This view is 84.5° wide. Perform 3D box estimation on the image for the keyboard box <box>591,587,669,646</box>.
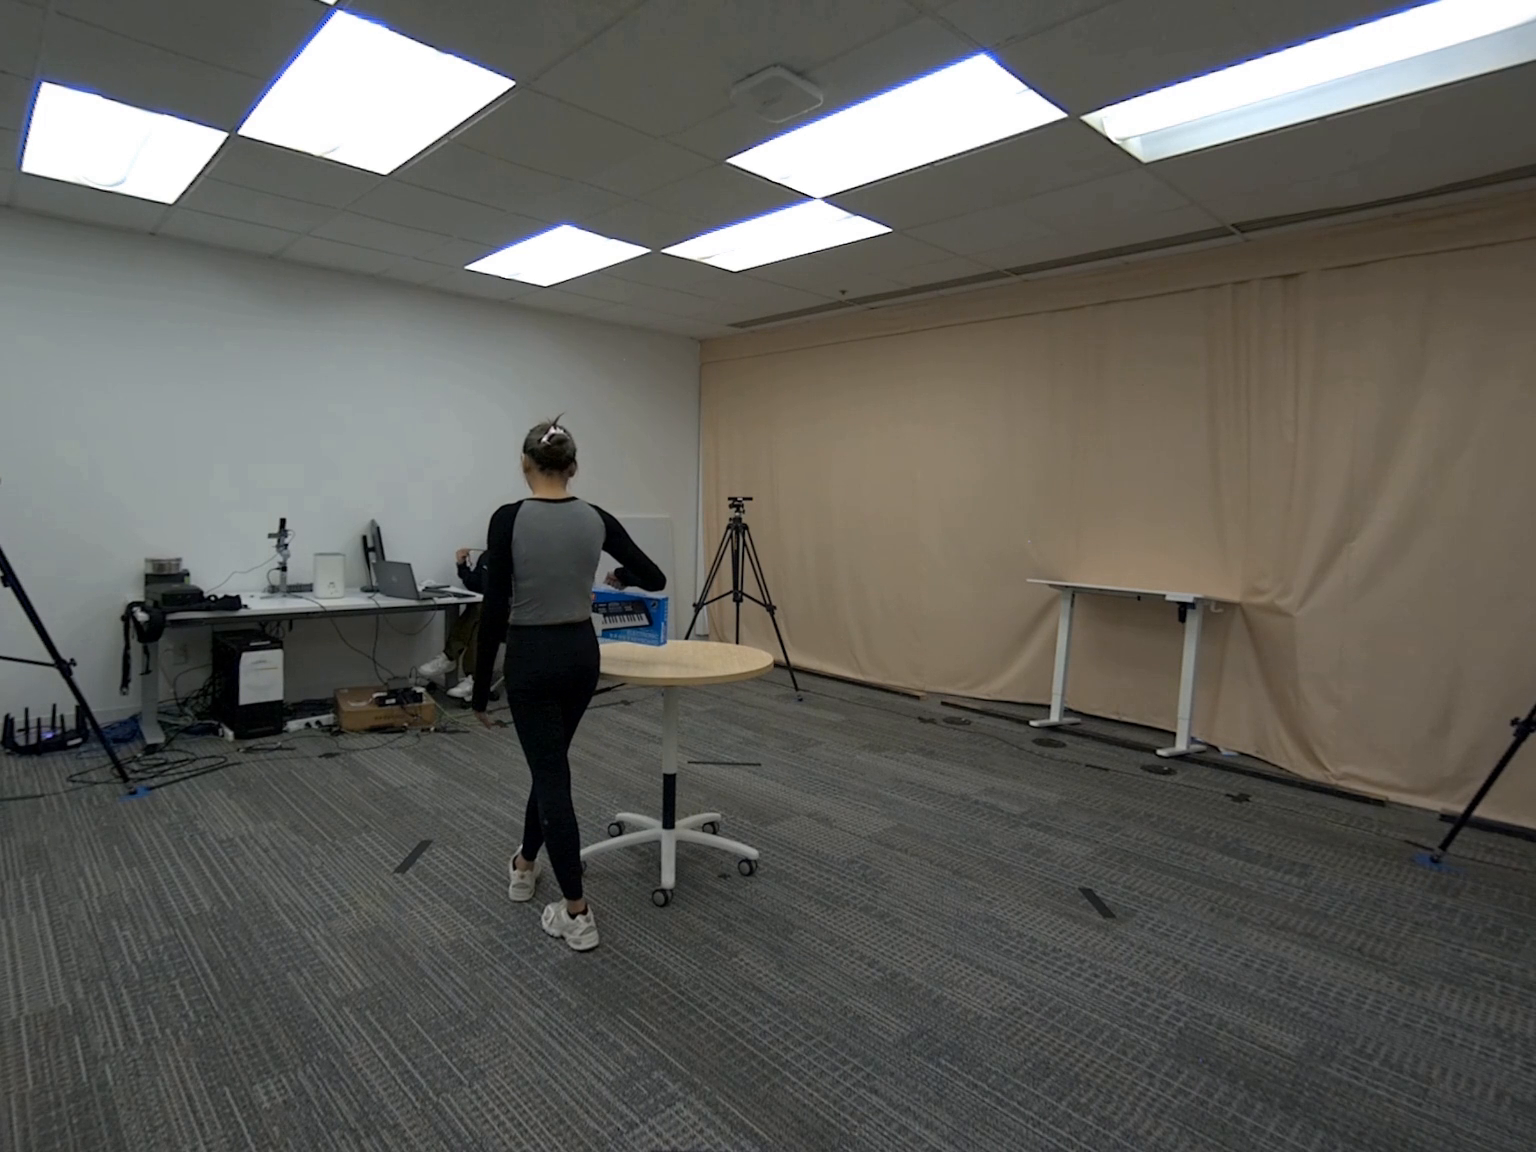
[{"bbox_3d":[-0.576,0.143,3.073,0.445,0.175,0.058,7,5,25],"label":"keyboard box"}]
